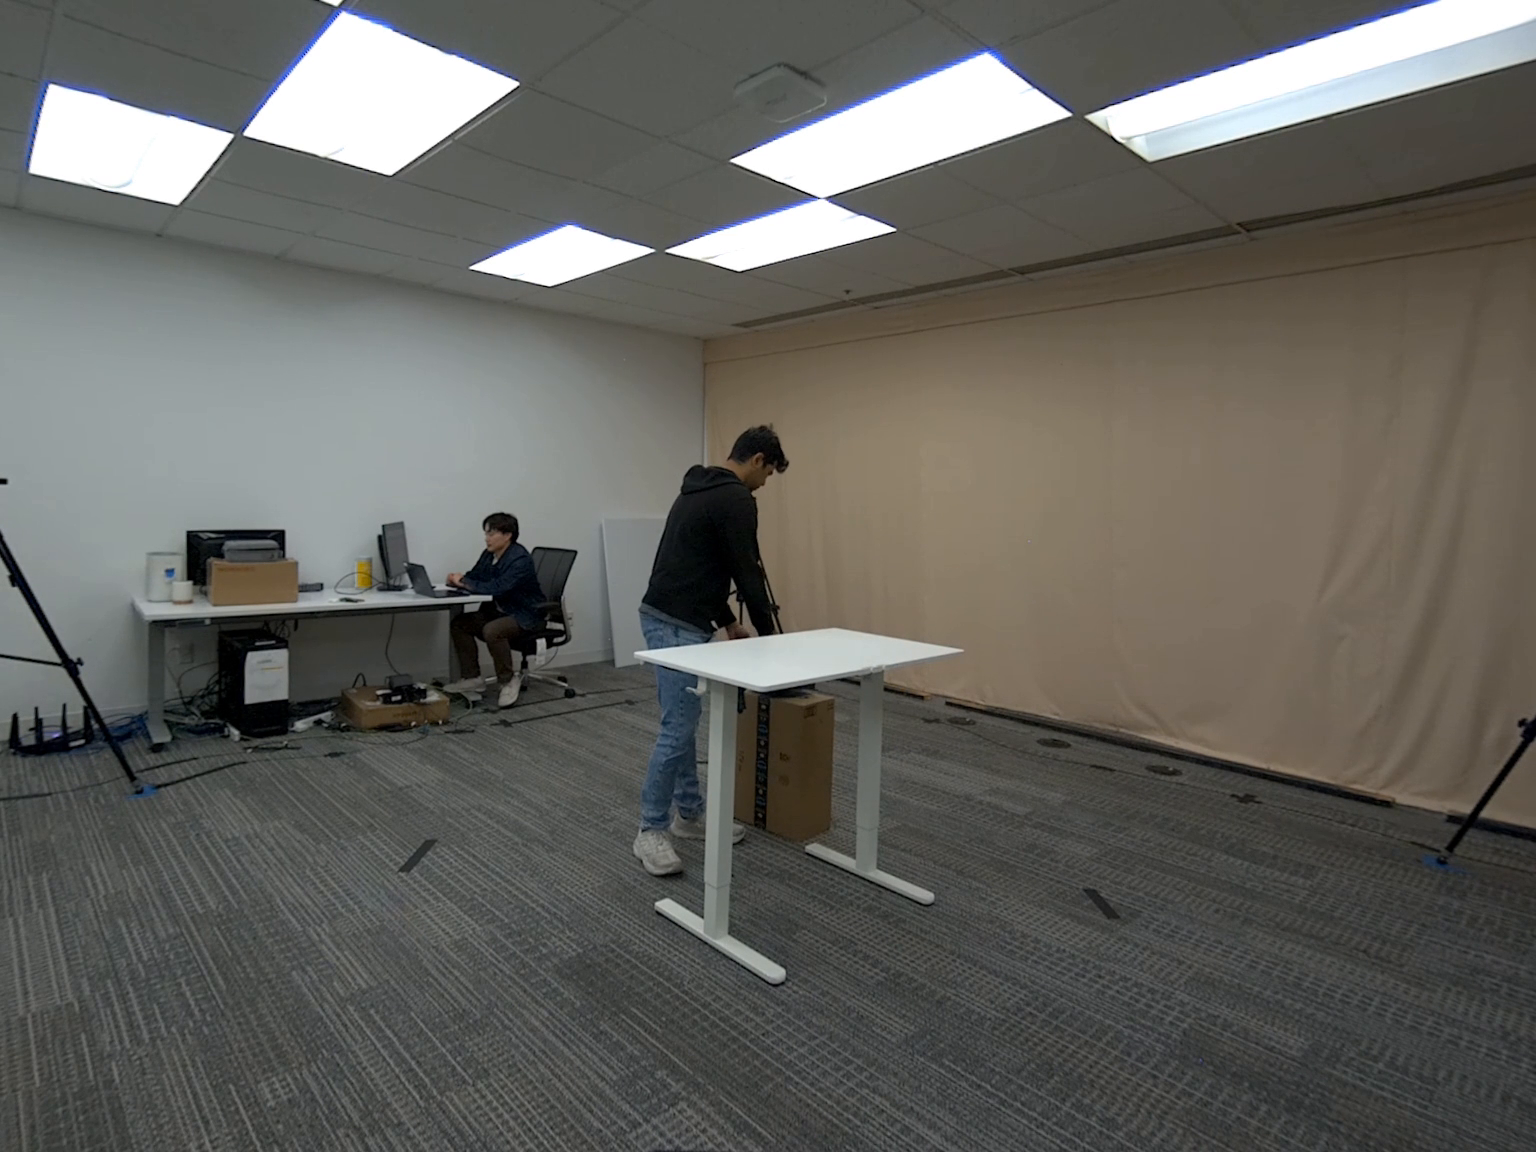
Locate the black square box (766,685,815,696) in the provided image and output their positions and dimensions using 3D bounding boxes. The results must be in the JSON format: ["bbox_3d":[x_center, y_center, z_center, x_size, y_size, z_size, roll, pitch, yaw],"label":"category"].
[{"bbox_3d":[0.060,0.381,3.627,0.211,0.156,0.233,5,-1,-40],"label":"black square box"}]
